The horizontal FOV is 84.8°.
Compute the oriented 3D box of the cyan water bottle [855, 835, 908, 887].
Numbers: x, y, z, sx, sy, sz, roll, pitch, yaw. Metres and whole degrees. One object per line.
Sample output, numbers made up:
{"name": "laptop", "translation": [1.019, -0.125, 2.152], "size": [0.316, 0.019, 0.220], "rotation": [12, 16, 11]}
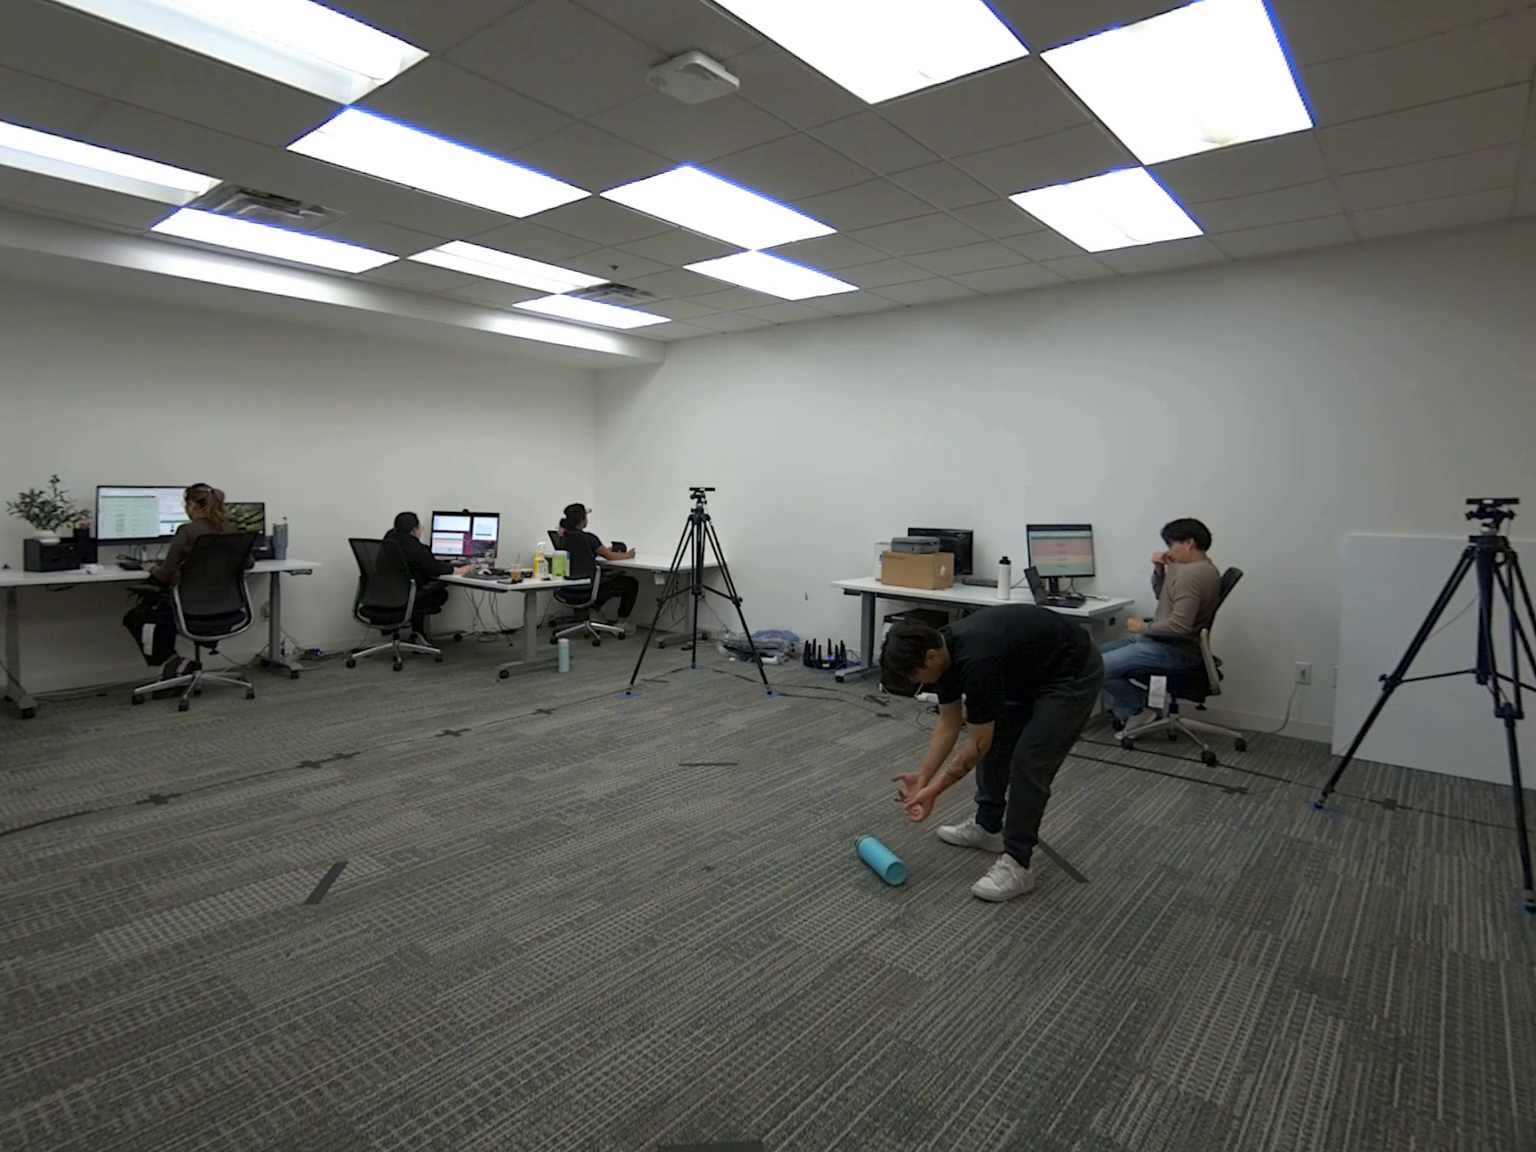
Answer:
{"name": "cyan water bottle", "translation": [0.403, 1.031, 3.136], "size": [0.091, 0.092, 0.289], "rotation": [0, 4, -17]}
